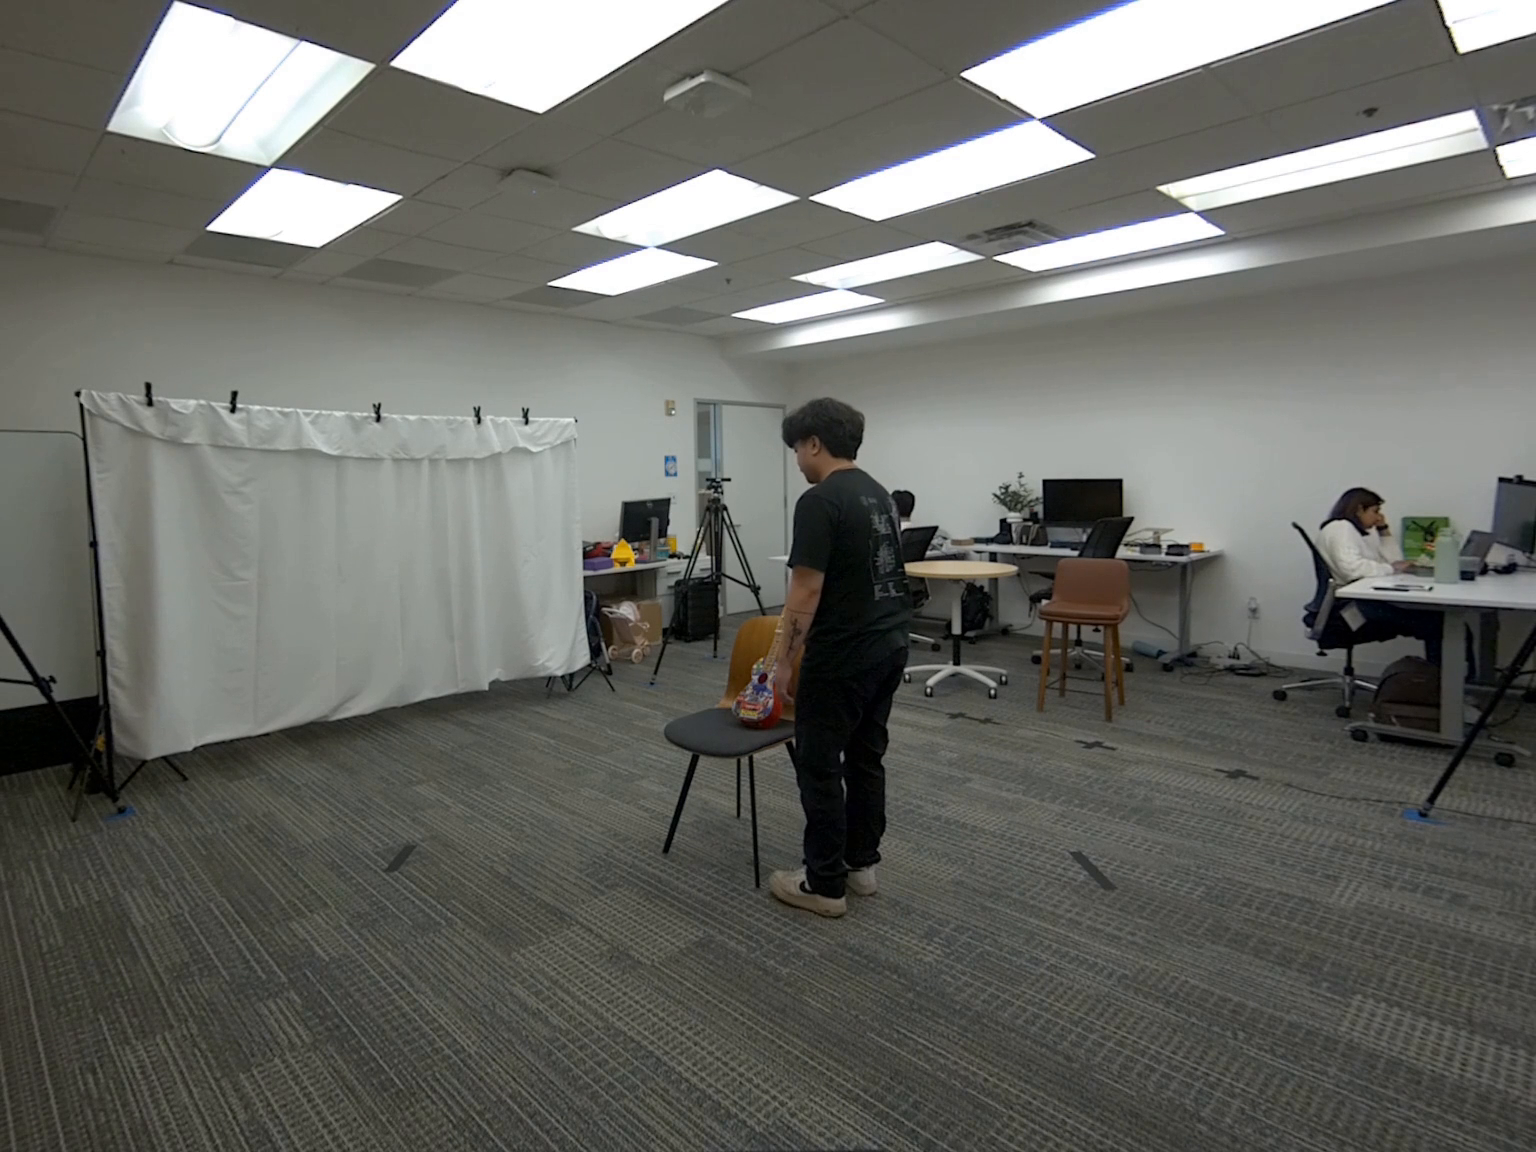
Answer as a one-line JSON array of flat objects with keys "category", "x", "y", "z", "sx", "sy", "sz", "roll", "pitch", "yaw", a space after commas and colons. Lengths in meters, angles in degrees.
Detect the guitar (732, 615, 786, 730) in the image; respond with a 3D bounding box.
[{"category": "guitar", "x": 0.027, "y": 0.337, "z": 3.245, "sx": 0.199, "sy": 0.502, "sz": 0.068, "roll": 3, "pitch": -29, "yaw": 42}]
